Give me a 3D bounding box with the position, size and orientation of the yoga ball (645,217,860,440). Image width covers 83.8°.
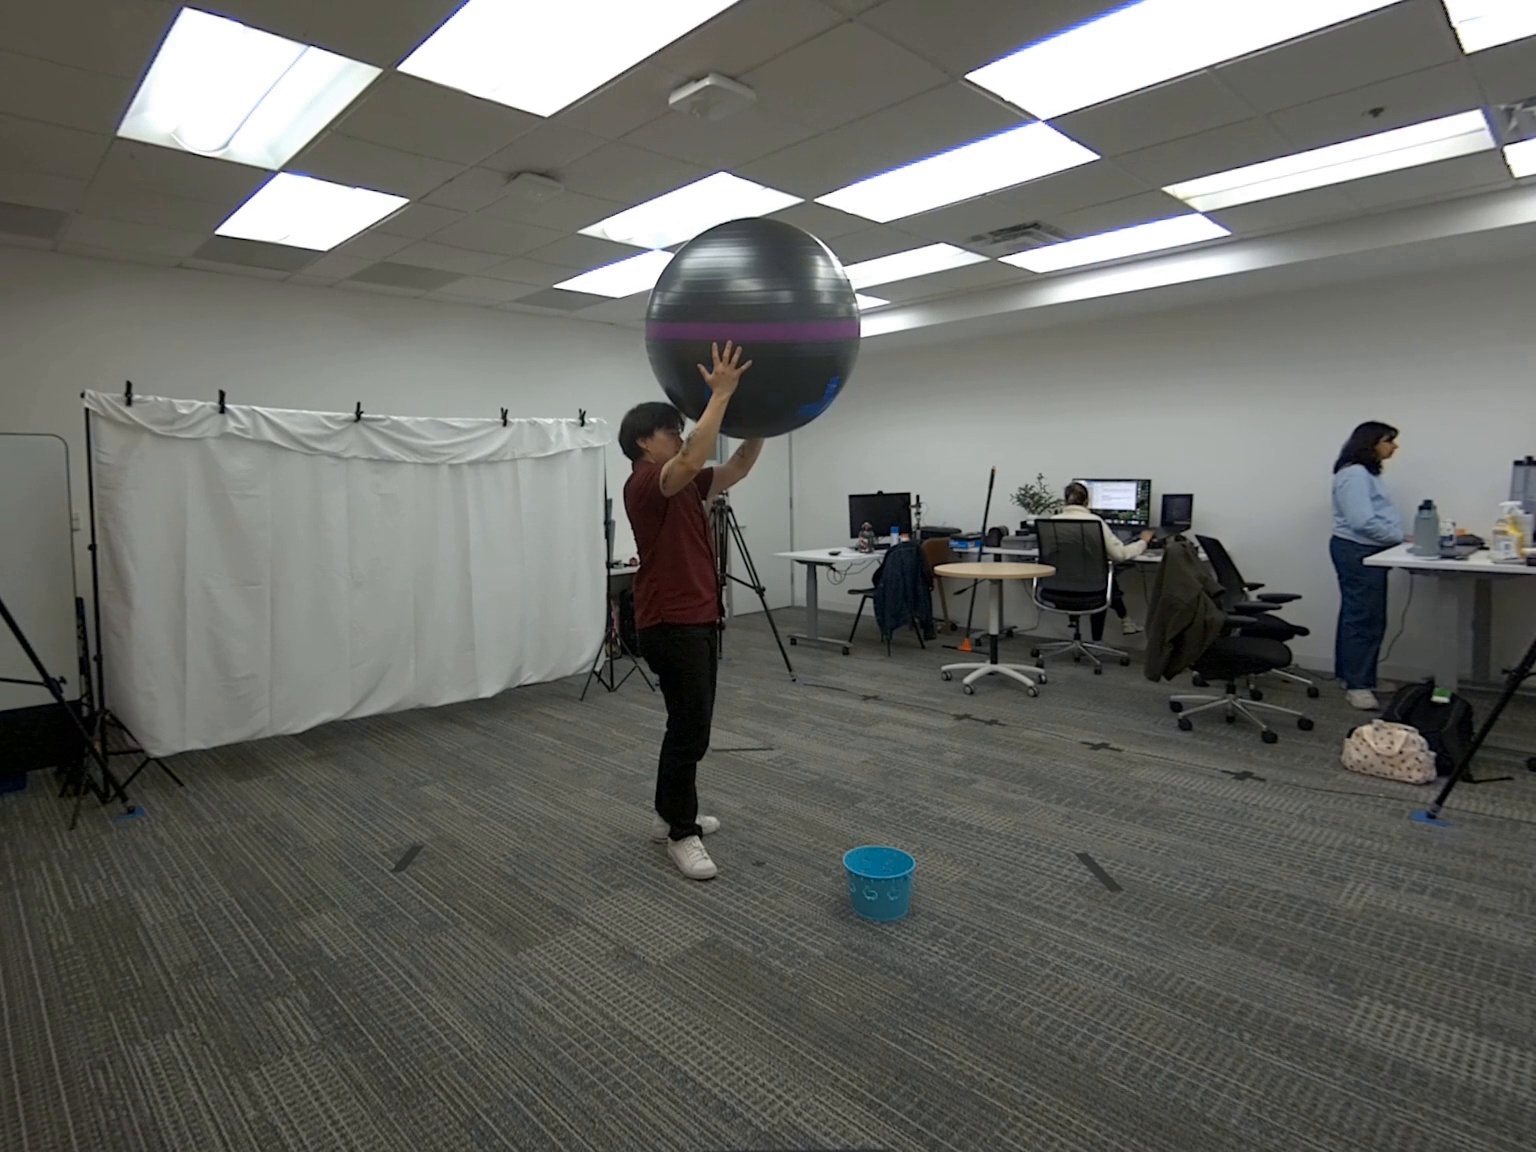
[{"bbox_3d":[-0.055,-0.862,3.031,0.757,0.755,0.762,-1,5,-2],"label":"yoga ball"}]
